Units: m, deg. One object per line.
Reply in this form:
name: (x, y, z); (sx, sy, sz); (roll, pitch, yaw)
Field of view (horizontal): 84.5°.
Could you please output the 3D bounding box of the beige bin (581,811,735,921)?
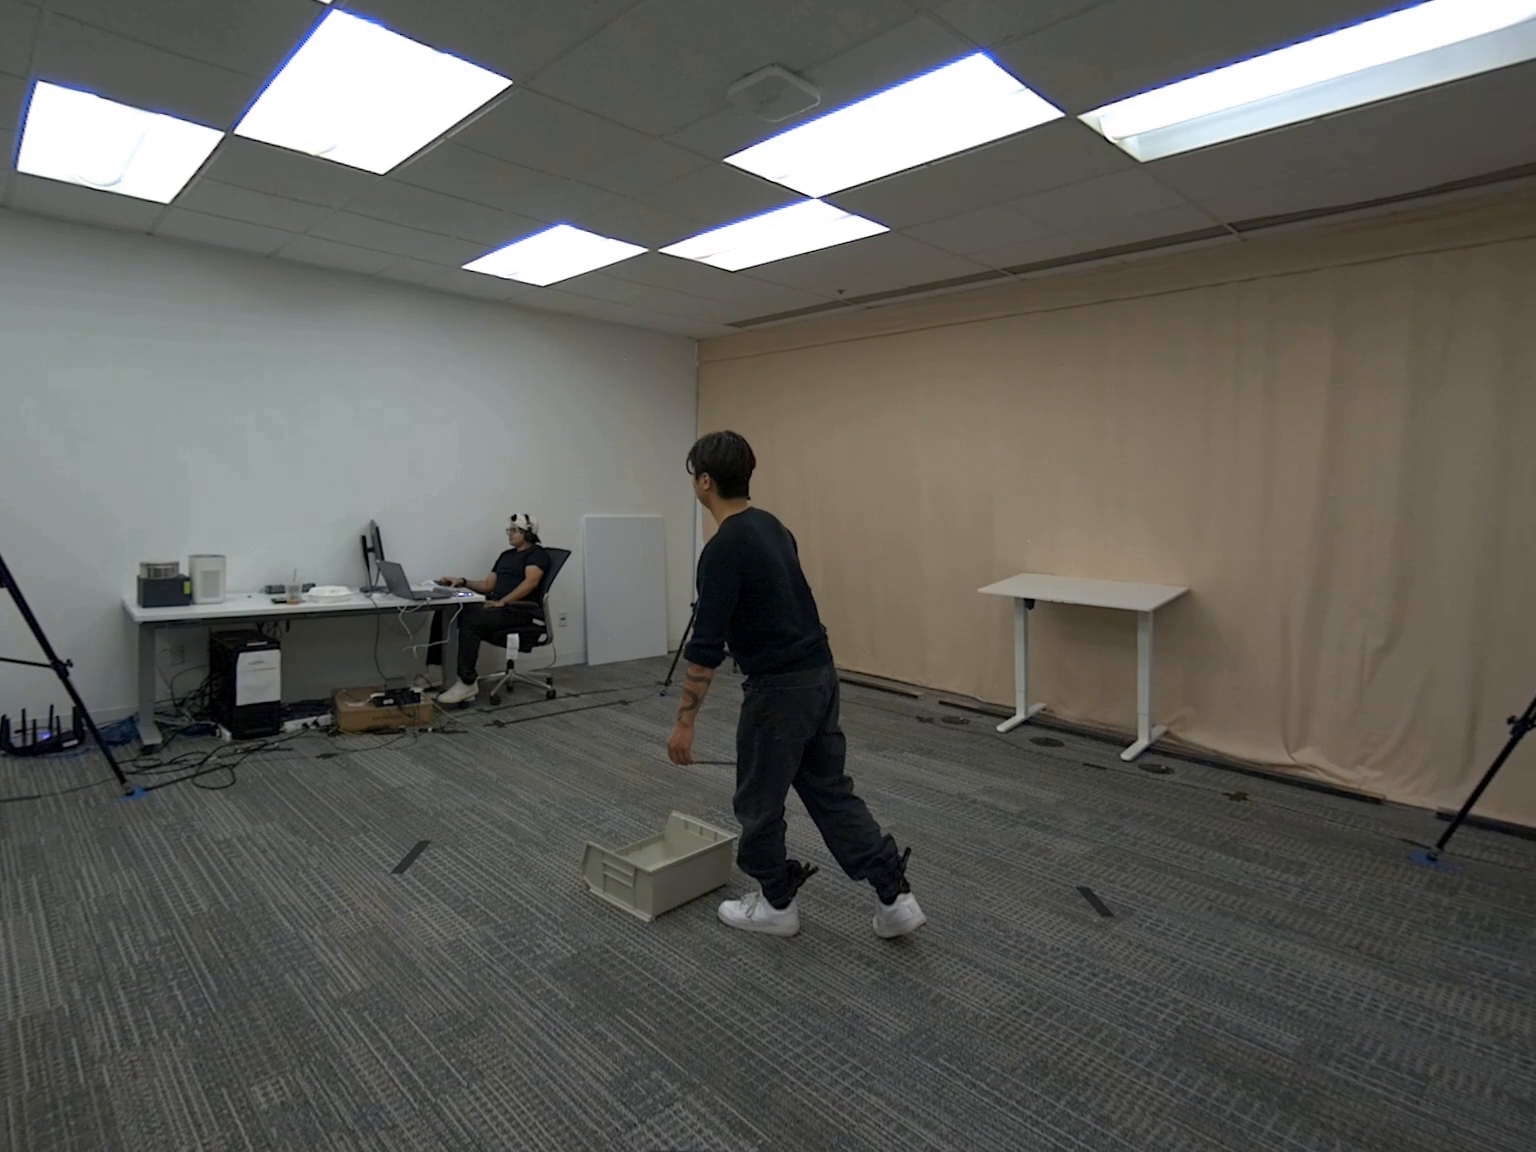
beige bin: (-0.396, 1.022, 3.011); (0.387, 0.188, 0.413); (7, 7, 41)
